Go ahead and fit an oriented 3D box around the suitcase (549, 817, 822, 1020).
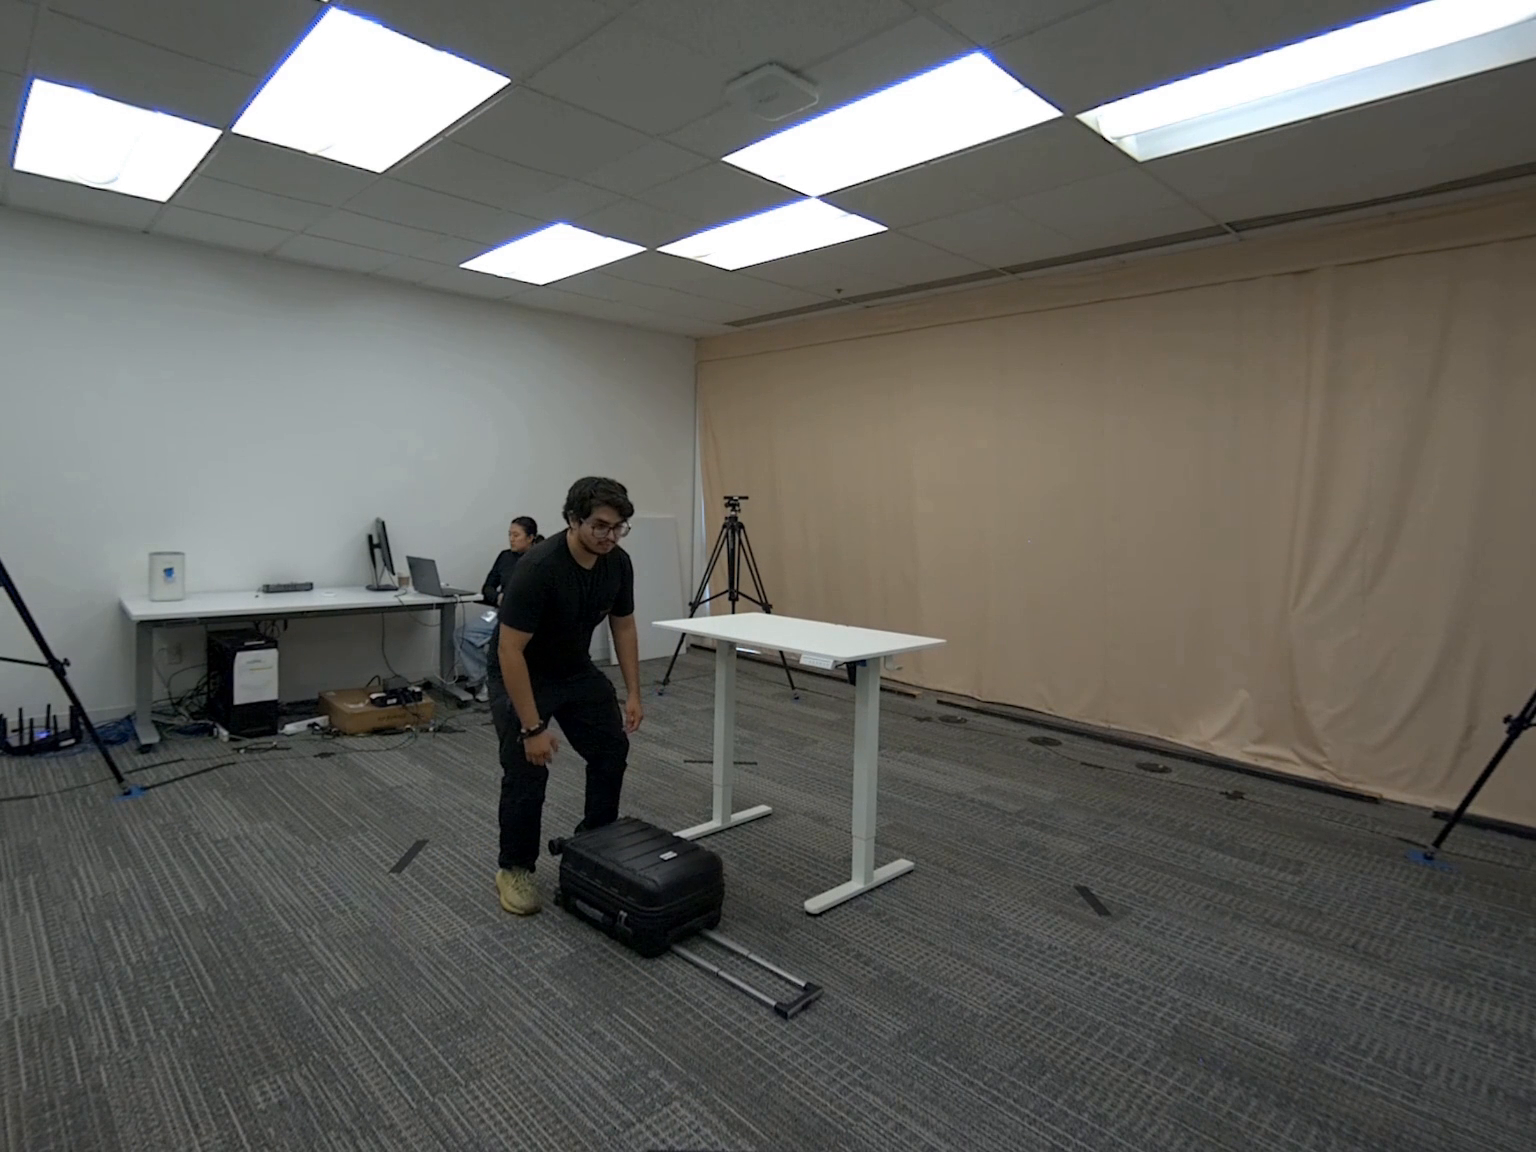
[{"bbox_3d":[-0.273,1.024,2.627,1.003,0.257,0.375,4,4,42],"label":"suitcase"}]
